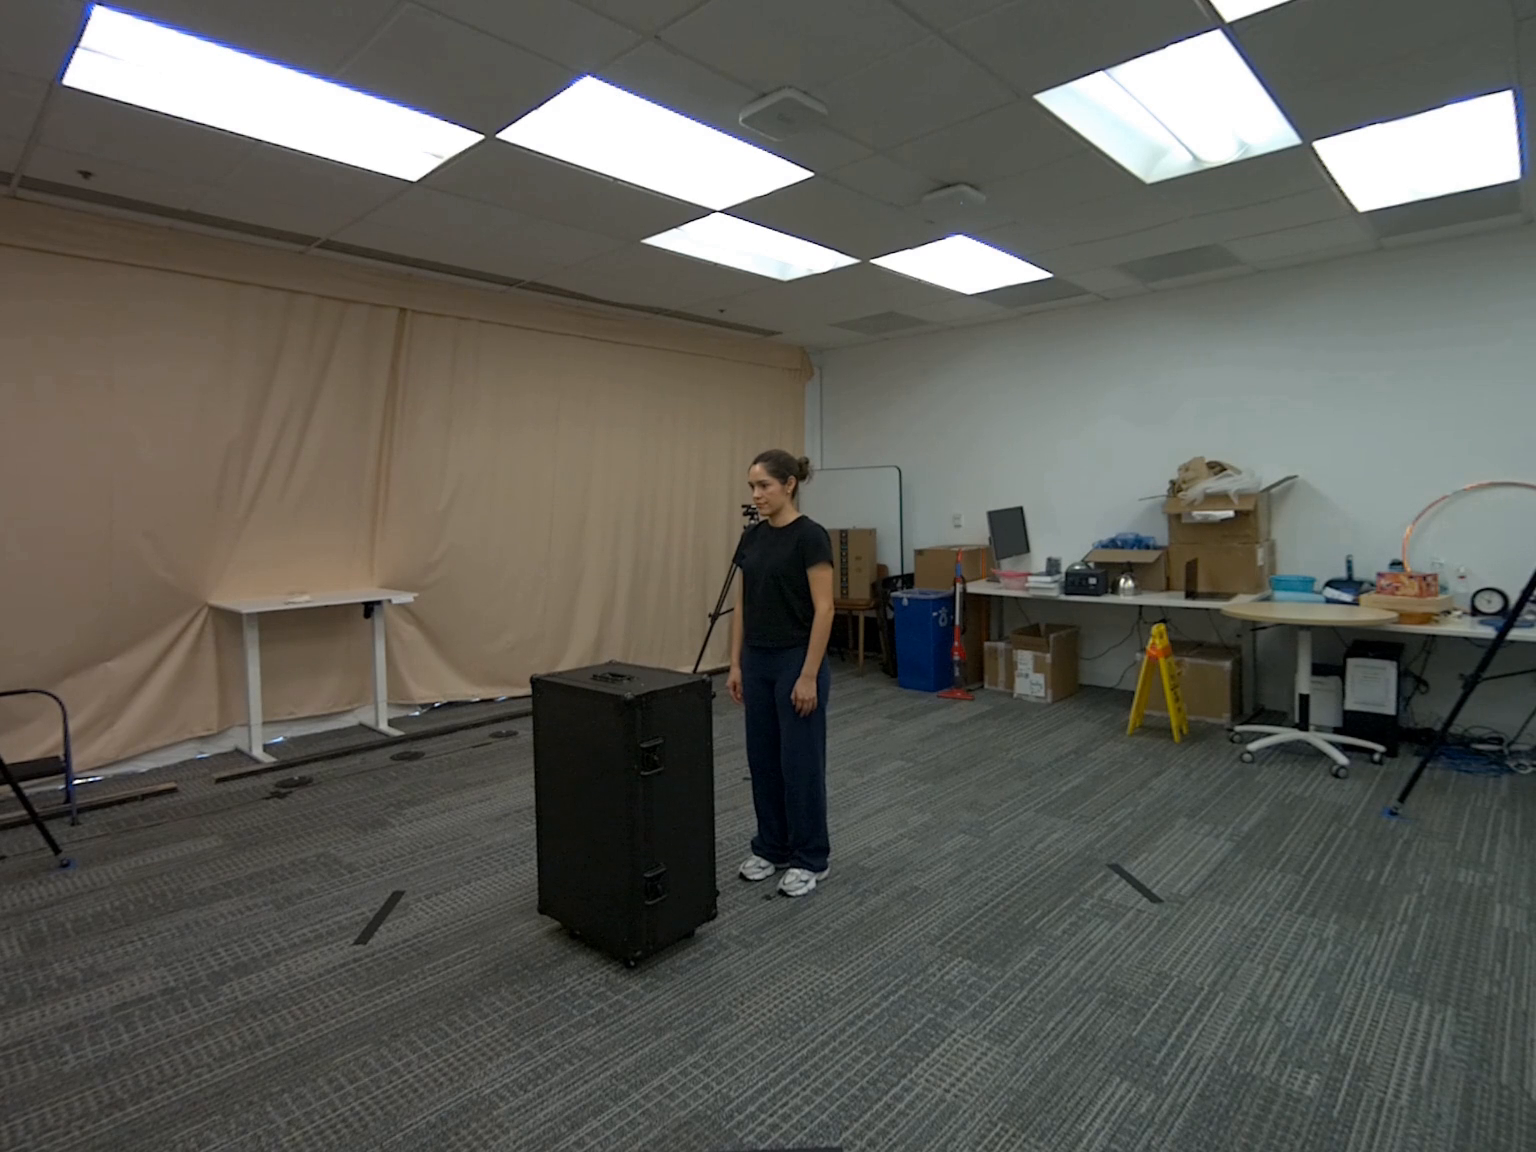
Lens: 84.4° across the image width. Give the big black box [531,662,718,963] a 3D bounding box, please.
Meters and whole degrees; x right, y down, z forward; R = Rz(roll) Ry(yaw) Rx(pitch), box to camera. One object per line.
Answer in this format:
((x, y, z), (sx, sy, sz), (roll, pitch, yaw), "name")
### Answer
((-0.448, 0.744, 2.726), (0.538, 0.860, 0.384), (1, 3, 41), "big black box")
